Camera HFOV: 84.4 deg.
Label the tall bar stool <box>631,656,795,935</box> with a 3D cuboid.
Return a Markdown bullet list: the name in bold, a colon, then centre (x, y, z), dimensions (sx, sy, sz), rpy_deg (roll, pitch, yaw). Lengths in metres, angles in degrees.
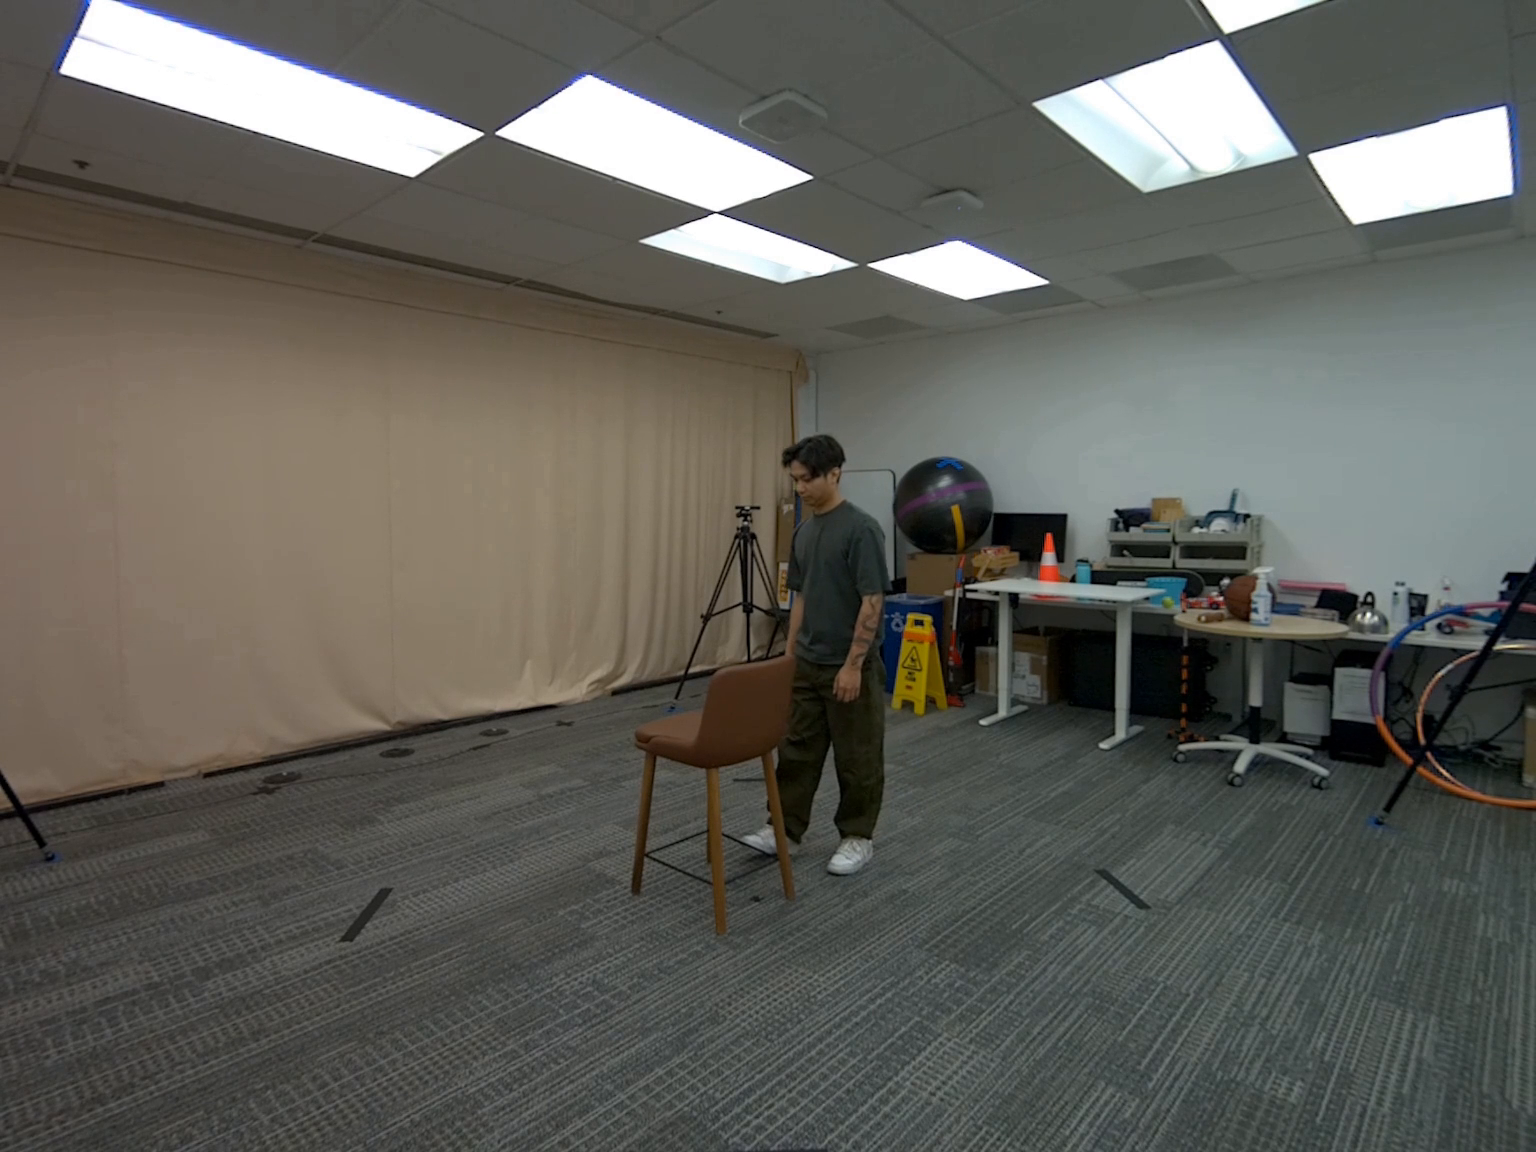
- **tall bar stool**: centre (-0.194, 0.712, 2.988), dimensions (0.483, 0.887, 0.442), rpy_deg (4, 6, 43)
